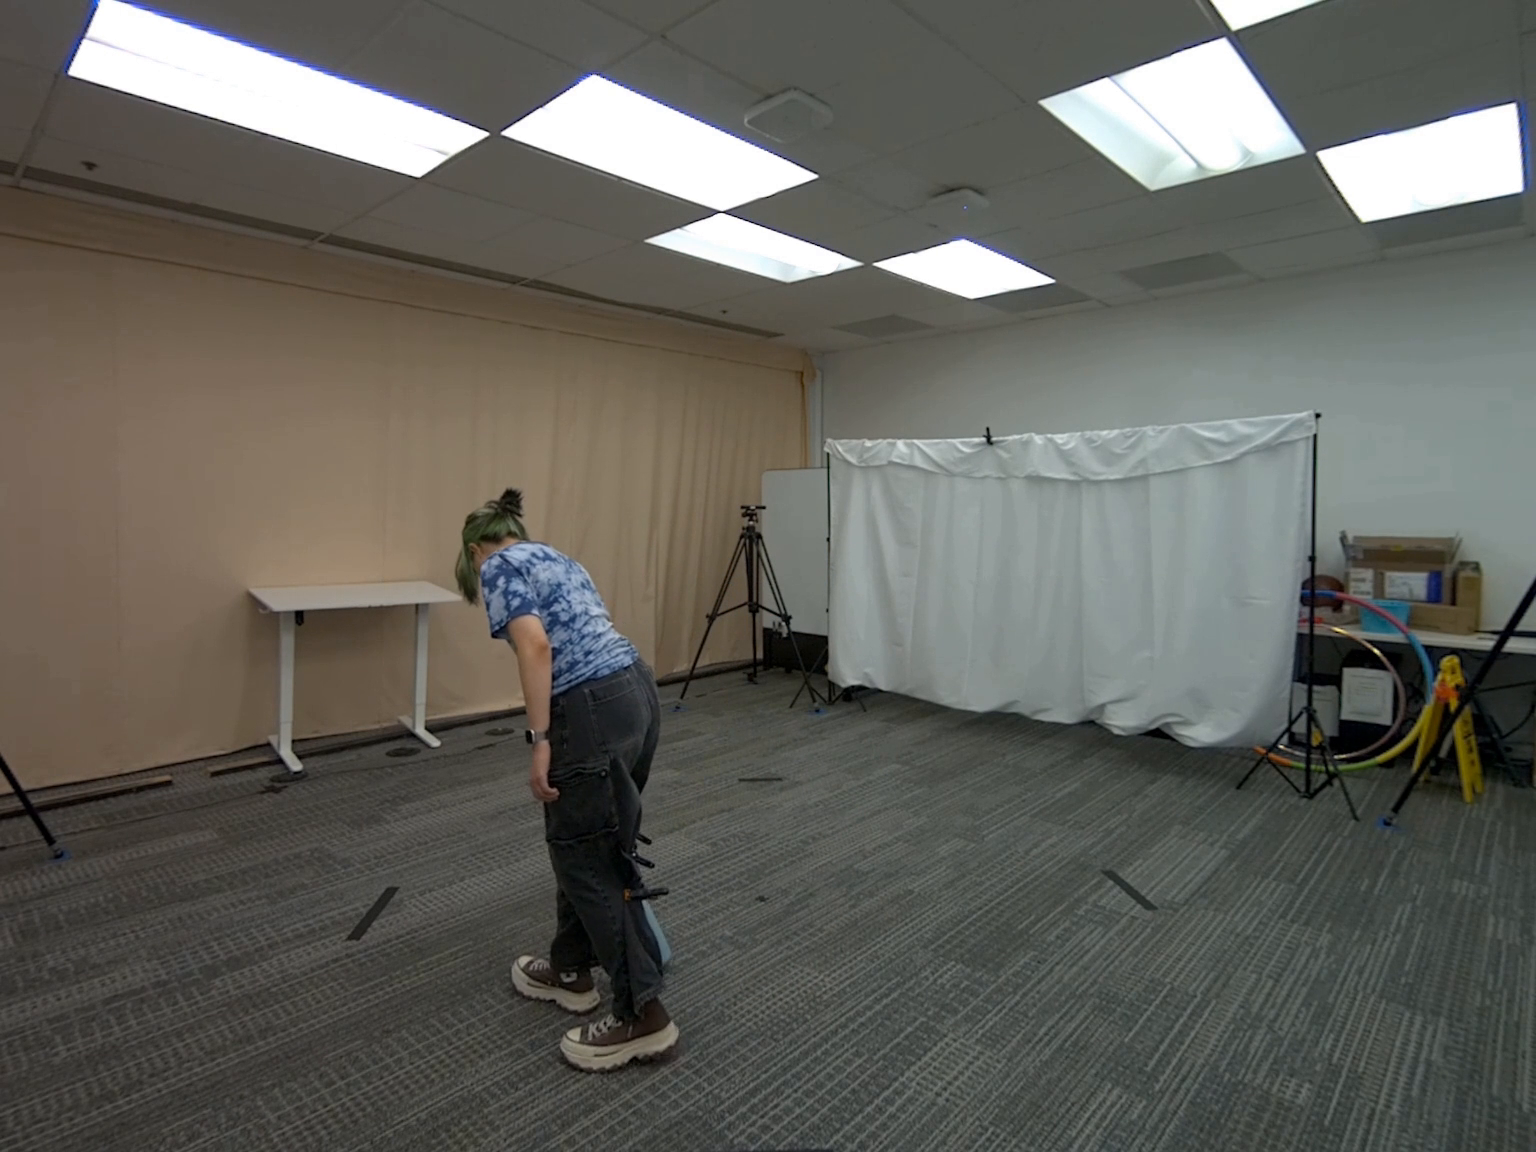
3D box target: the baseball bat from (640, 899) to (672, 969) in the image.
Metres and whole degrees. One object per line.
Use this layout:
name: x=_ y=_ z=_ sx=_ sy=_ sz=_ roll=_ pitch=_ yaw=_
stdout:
baseball bat: x=-0.438 y=0.931 z=2.522 sx=0.089 sy=0.540 sz=0.089 roll=-26 pitch=5 yaw=1
